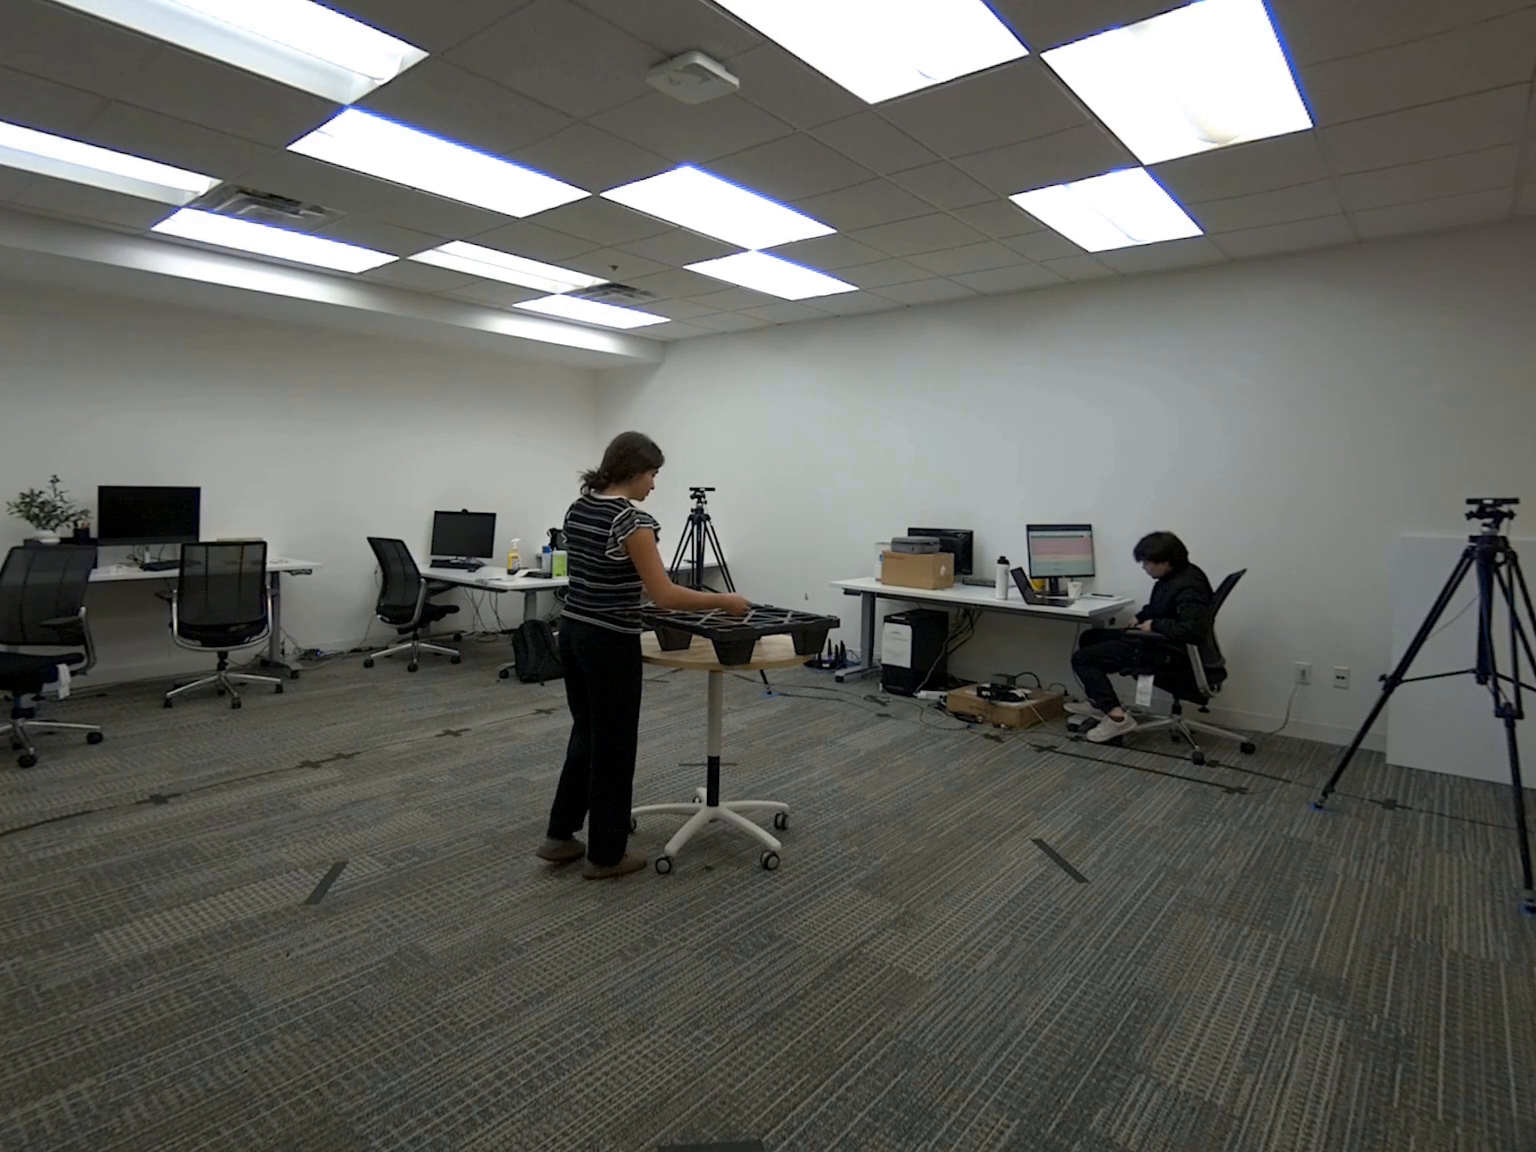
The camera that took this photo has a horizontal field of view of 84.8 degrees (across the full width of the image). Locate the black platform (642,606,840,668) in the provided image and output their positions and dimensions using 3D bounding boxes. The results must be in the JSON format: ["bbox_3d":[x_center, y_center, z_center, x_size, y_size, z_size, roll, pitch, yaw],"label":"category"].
[{"bbox_3d":[-0.230,0.200,3.318,0.586,0.143,0.833,-2,6,-41],"label":"black platform"}]
